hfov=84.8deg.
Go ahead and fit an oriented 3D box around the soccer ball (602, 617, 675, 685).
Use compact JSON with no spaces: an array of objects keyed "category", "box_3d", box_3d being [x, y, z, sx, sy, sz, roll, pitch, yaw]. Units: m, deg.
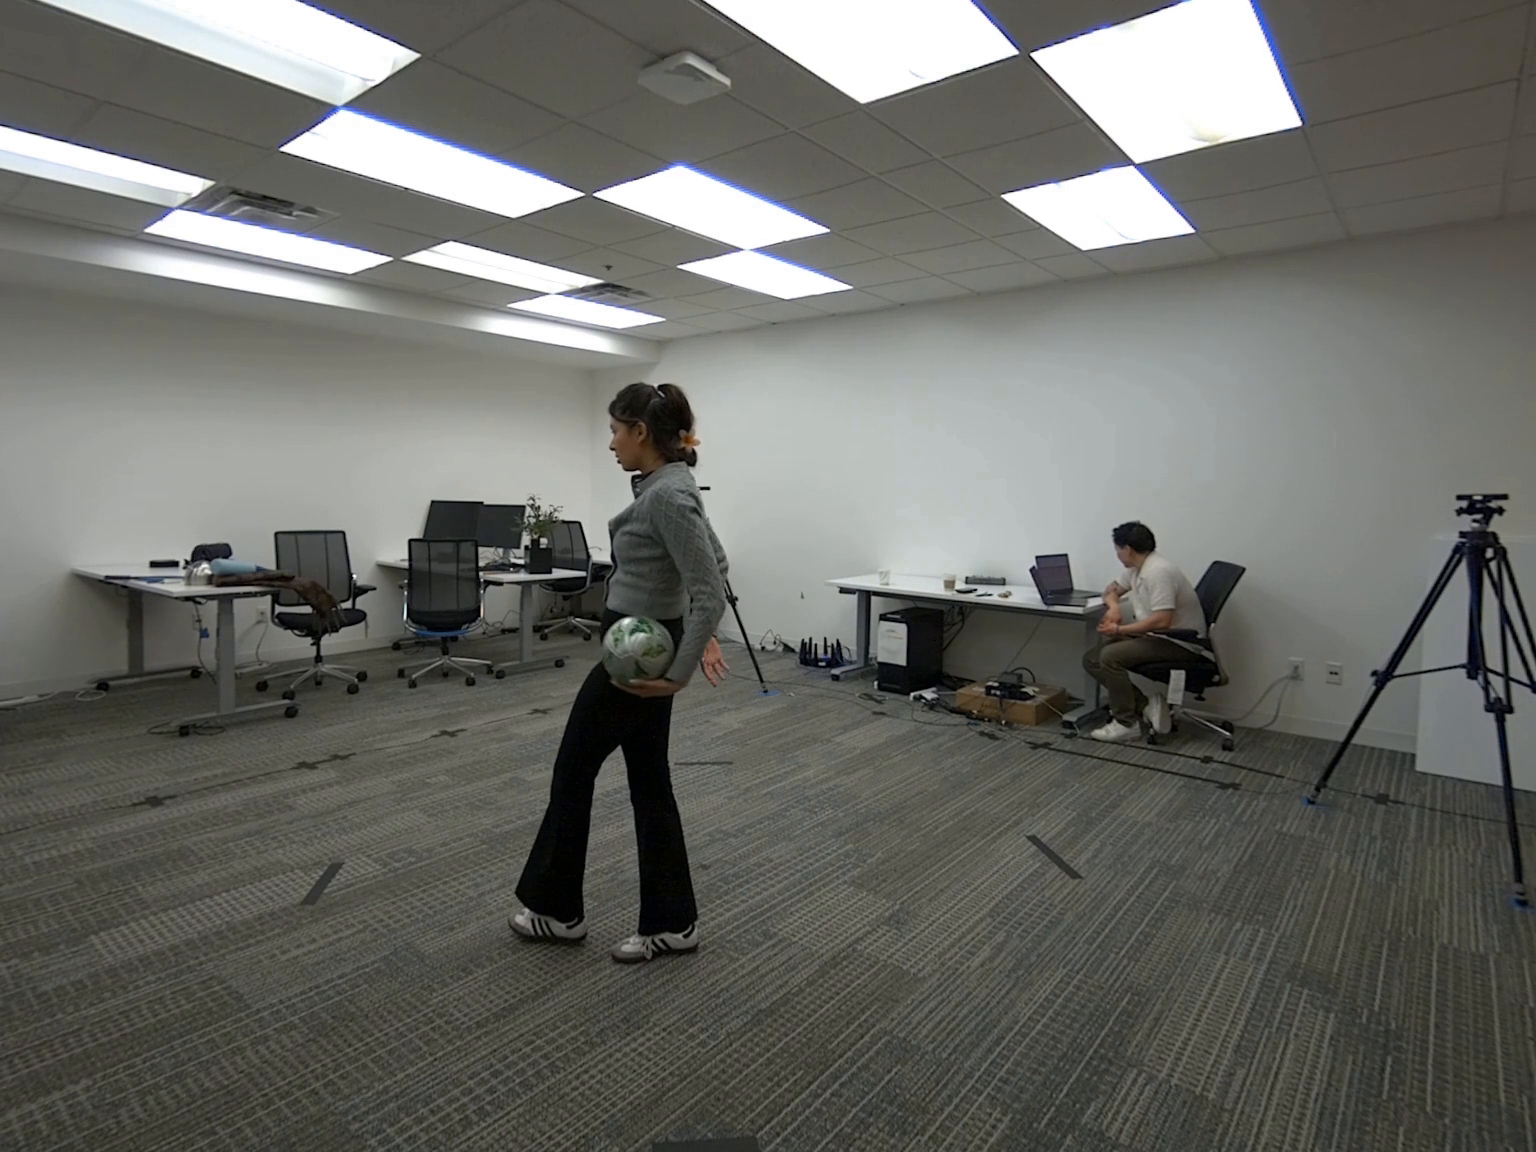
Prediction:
[{"category":"soccer ball","box_3d":[-0.356,0.188,2.256,0.187,0.187,0.188,0,4,-2]}]
